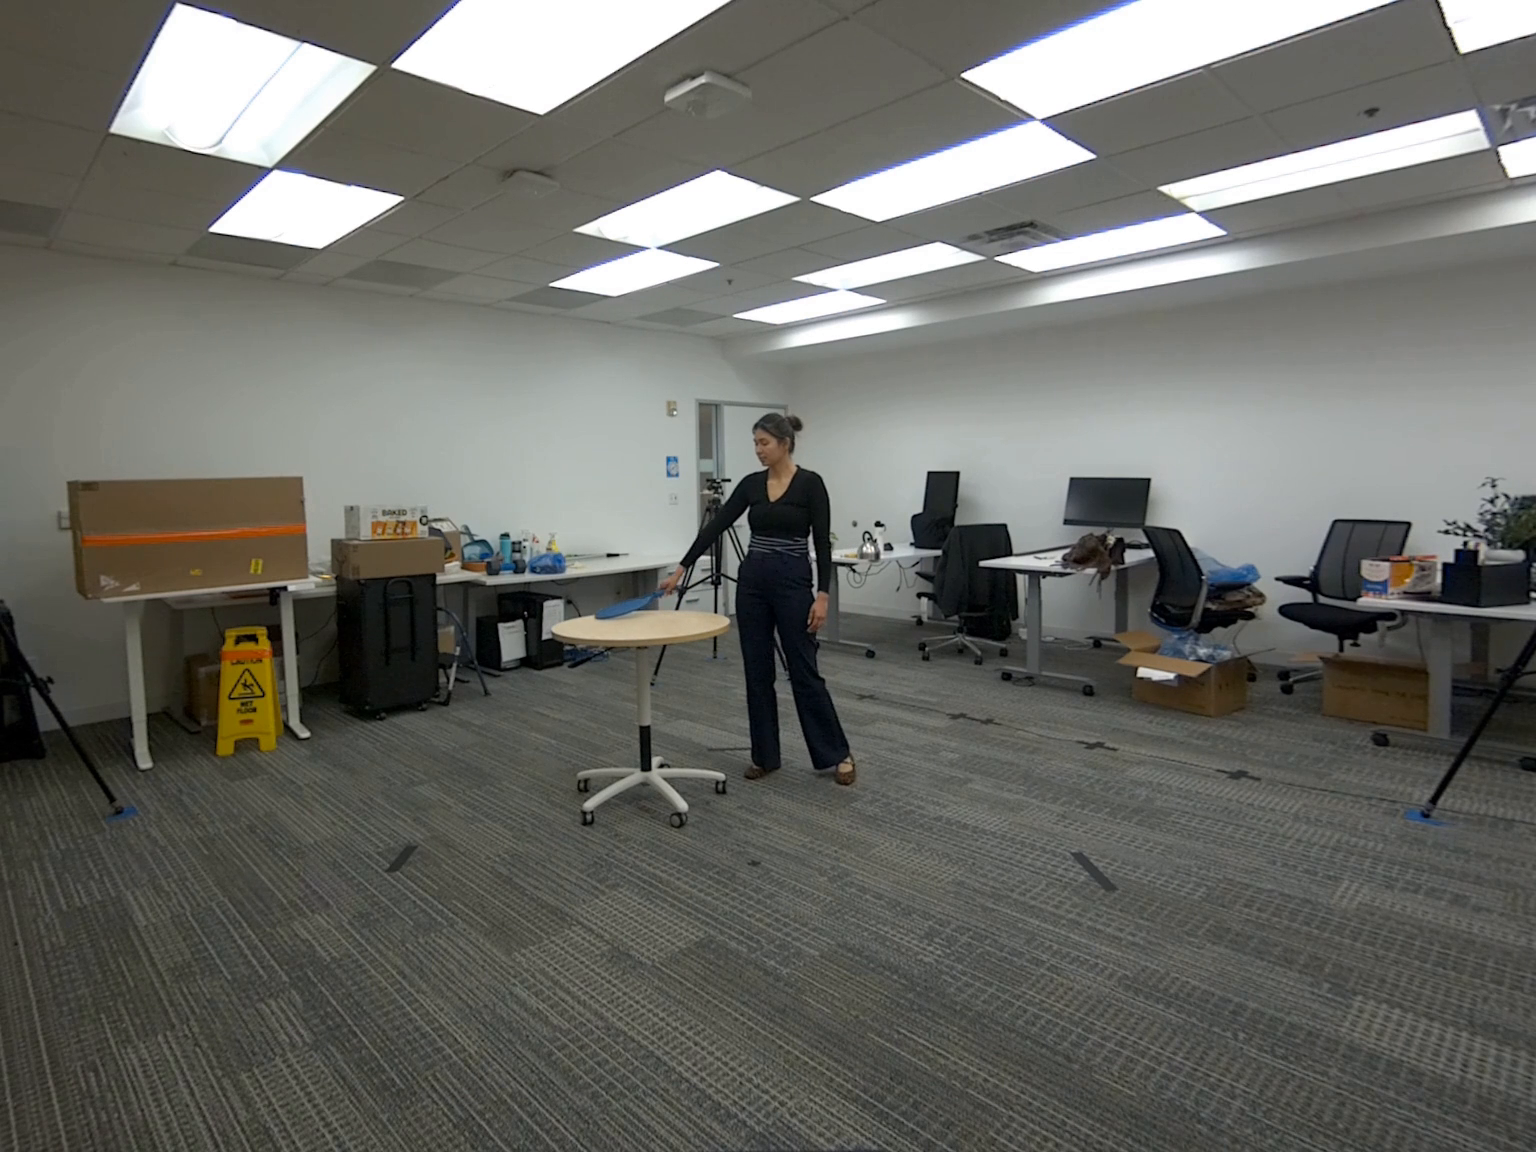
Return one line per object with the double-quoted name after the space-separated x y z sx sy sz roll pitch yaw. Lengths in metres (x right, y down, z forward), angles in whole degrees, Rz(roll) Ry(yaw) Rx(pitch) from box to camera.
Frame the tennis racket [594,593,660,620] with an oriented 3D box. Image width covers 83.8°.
-0.594 0.121 3.949 0.426 0.031 0.220 -21 16 -28 "tennis racket"
